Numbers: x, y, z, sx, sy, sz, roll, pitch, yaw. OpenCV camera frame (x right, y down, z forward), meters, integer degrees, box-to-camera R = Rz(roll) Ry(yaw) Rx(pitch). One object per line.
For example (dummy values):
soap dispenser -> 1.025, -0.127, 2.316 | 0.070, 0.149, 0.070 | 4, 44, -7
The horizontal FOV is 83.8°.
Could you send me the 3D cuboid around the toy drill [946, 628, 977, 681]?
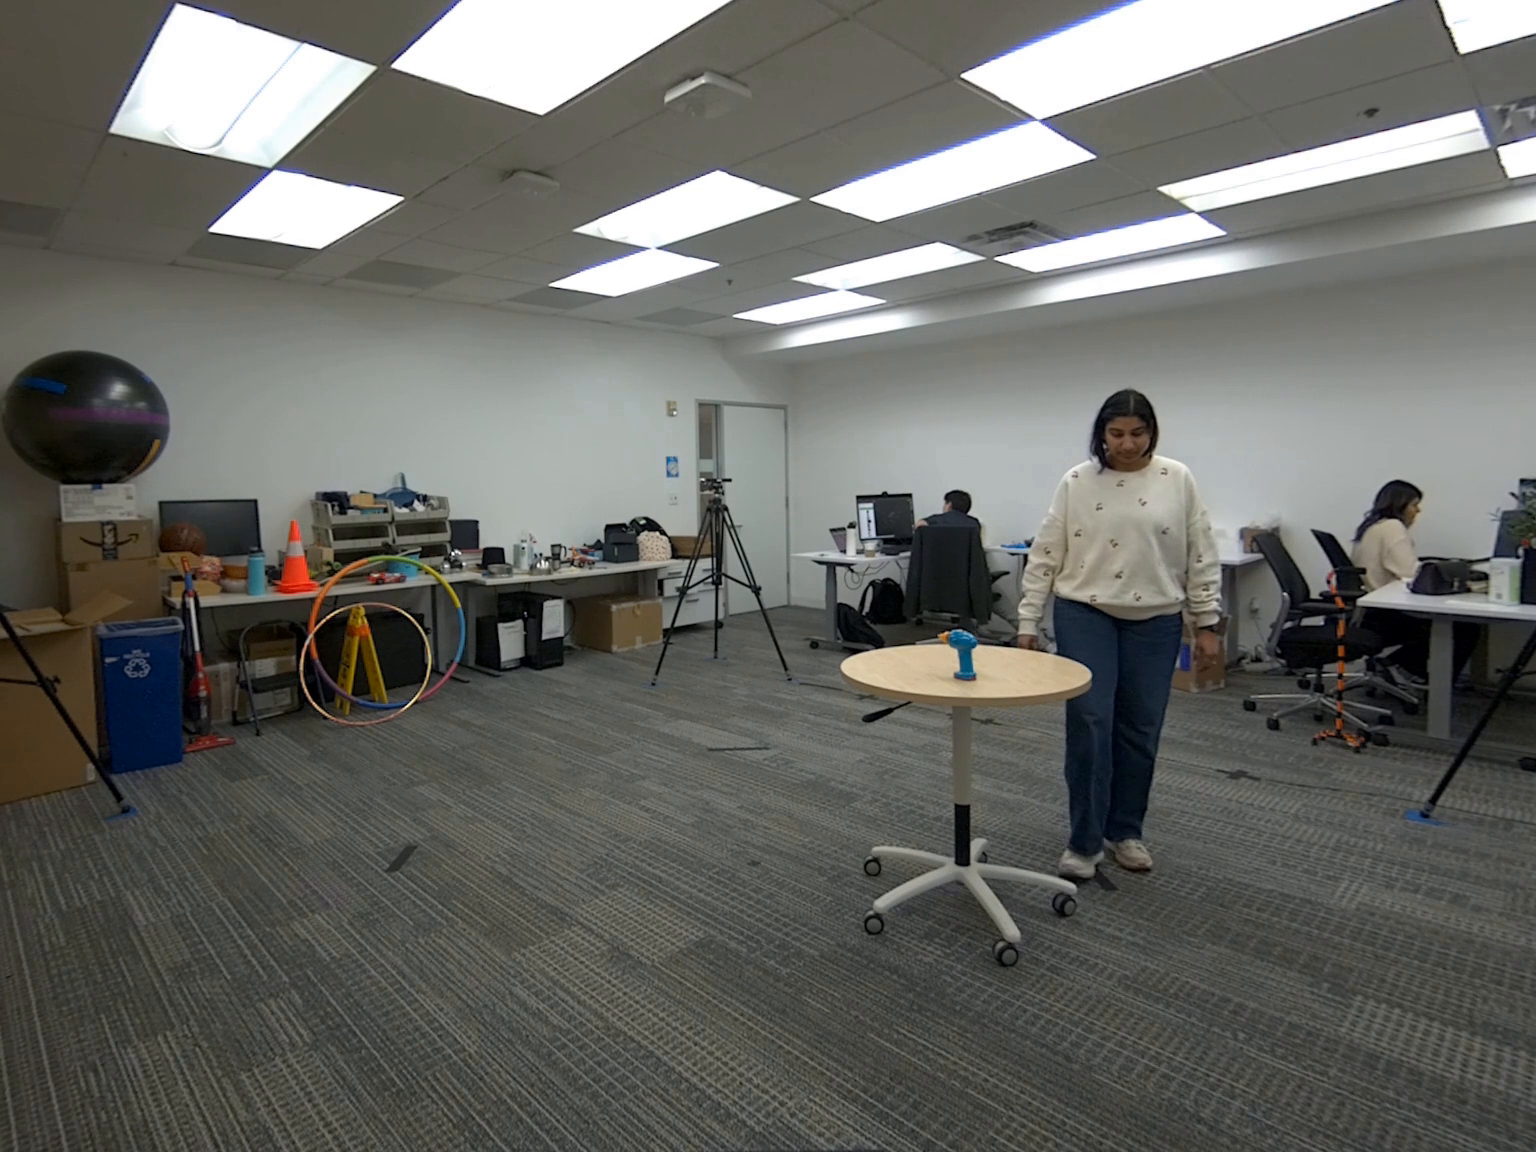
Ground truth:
toy drill -> 0.585, 0.234, 2.600 | 0.060, 0.145, 0.174 | -6, 5, -24
